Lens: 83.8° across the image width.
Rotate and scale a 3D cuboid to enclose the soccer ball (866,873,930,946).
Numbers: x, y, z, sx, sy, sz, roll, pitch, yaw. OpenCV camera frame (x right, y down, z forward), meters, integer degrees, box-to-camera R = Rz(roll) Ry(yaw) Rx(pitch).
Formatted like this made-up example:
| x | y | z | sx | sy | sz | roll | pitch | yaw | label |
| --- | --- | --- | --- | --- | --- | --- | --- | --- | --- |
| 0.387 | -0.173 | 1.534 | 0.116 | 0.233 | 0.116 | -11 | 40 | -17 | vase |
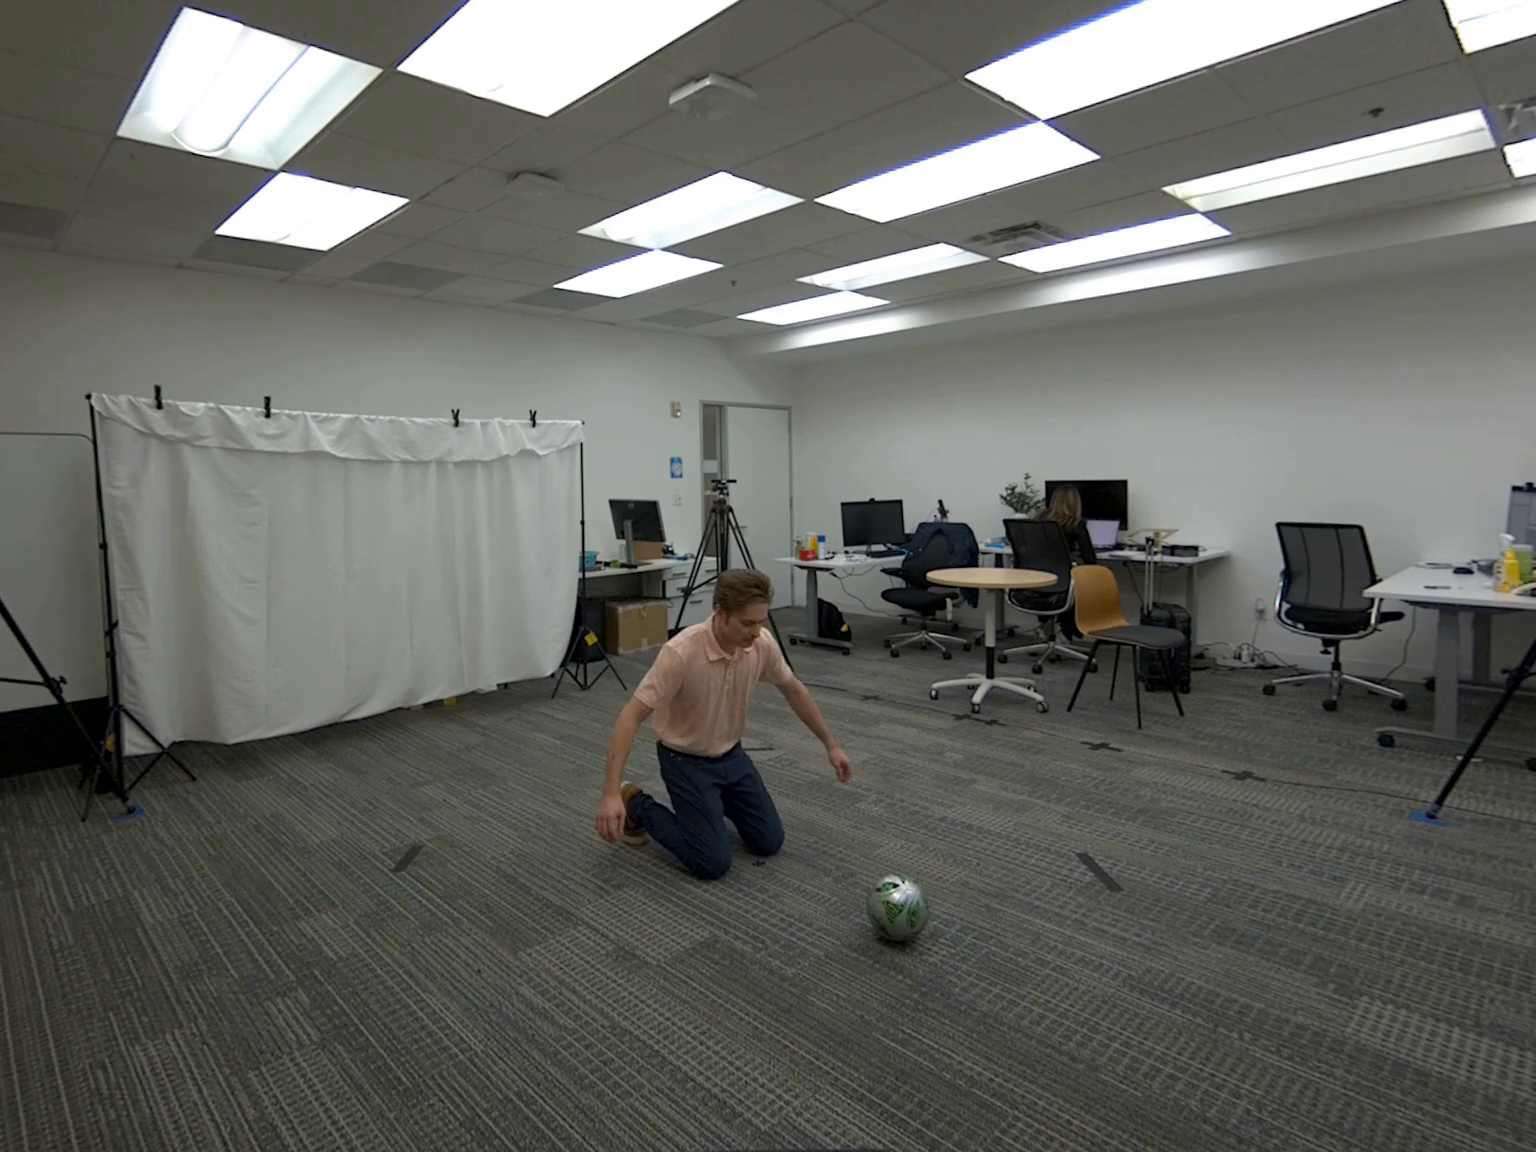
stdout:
| x | y | z | sx | sy | sz | roll | pitch | yaw | label |
| --- | --- | --- | --- | --- | --- | --- | --- | --- | --- |
| 0.397 | 1.008 | 2.582 | 0.187 | 0.187 | 0.188 | -1 | 5 | -2 | soccer ball |
